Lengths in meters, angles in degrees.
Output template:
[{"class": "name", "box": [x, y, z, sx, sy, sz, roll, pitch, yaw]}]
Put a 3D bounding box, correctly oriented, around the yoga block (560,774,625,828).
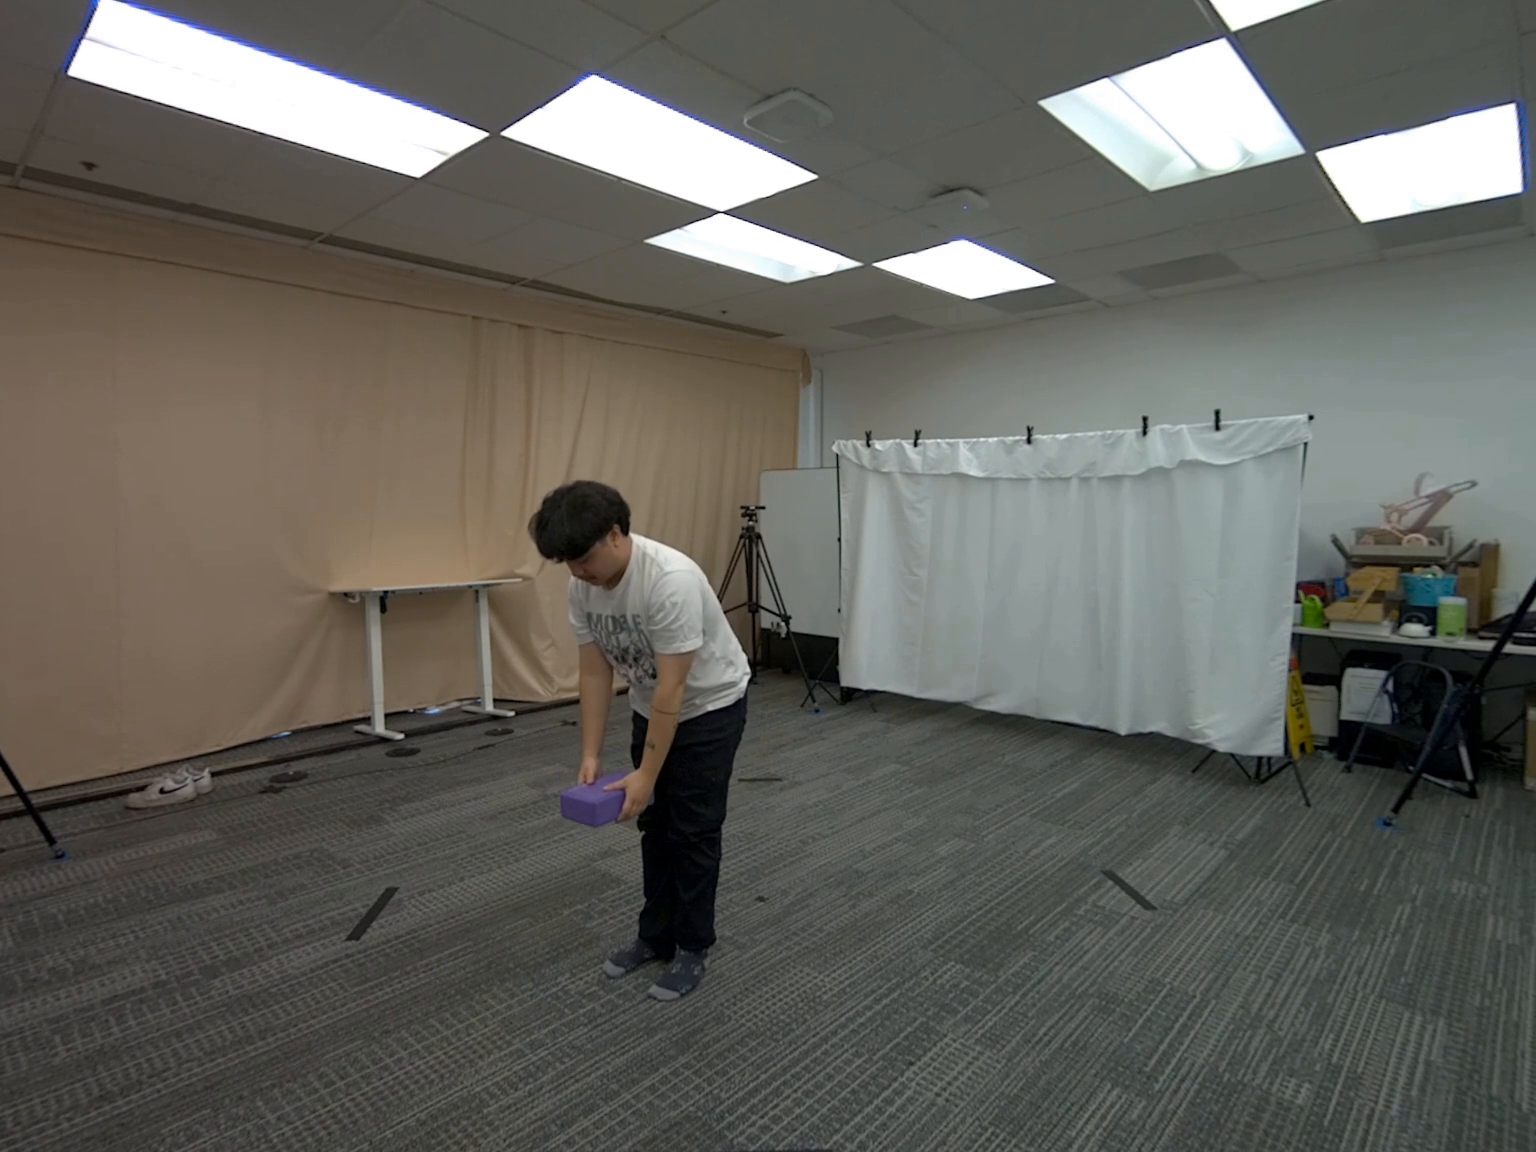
[{"class": "yoga block", "box": [-0.442, 0.616, 2.342, 0.154, 0.076, 0.223, 2, 7, 36]}]
